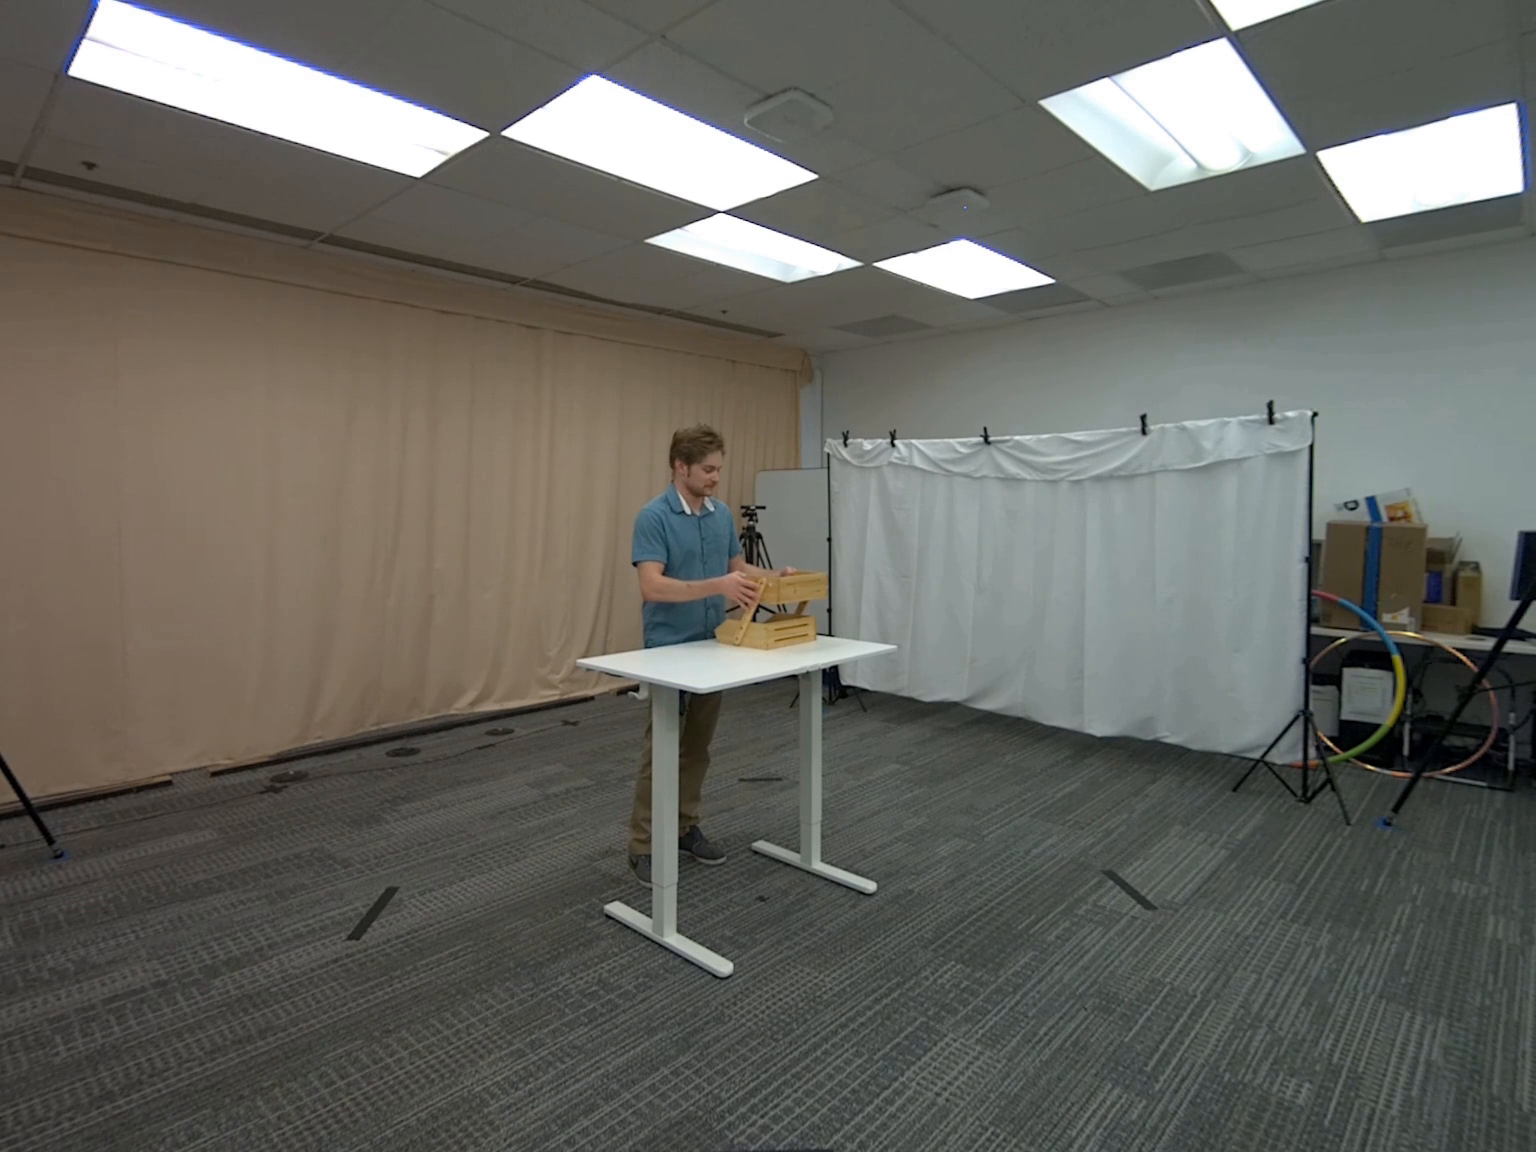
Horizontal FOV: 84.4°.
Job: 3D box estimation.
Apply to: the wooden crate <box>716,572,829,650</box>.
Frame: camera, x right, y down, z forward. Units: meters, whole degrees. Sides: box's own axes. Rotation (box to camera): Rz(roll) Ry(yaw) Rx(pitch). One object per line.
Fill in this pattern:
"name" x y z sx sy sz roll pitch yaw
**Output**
"wooden crate" 0.016 0.118 3.139 0.312 0.272 0.314 5 6 41
